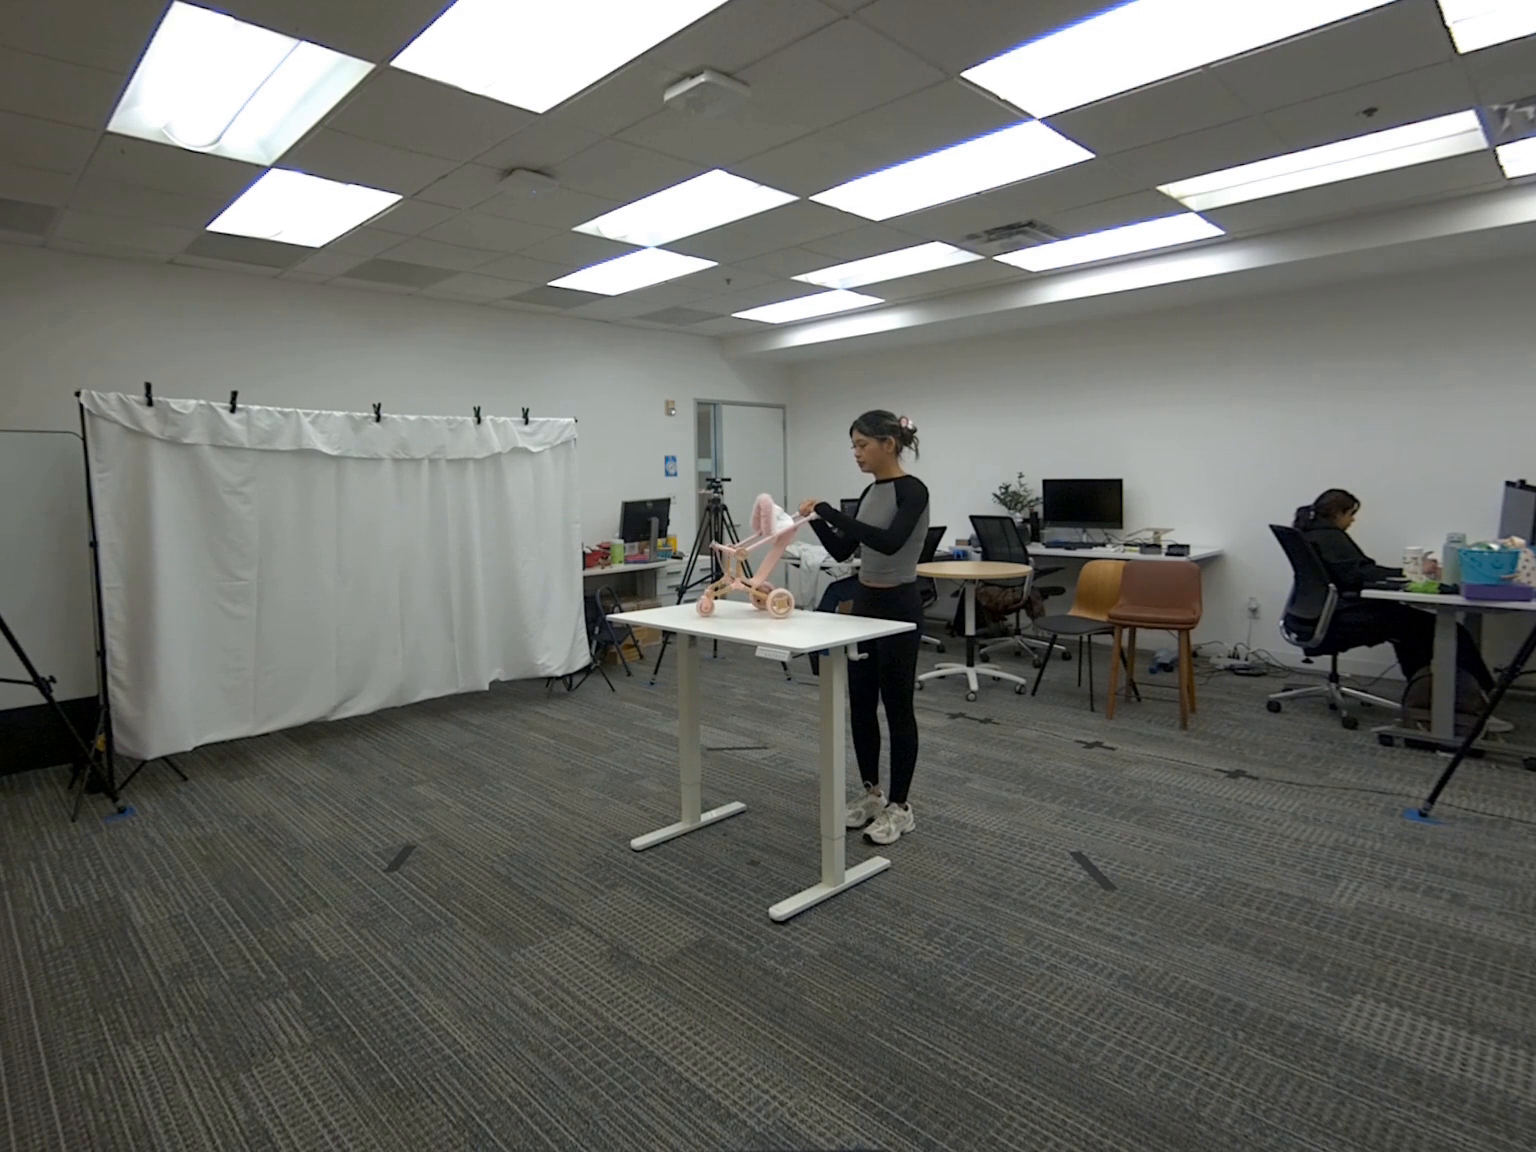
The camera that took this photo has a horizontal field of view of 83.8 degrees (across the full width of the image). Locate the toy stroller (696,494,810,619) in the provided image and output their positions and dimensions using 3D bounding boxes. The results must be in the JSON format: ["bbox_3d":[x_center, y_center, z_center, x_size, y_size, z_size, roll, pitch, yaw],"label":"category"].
[{"bbox_3d":[-0.044,-0.071,3.219,0.338,0.535,0.284,15,0,-9],"label":"toy stroller"}]
